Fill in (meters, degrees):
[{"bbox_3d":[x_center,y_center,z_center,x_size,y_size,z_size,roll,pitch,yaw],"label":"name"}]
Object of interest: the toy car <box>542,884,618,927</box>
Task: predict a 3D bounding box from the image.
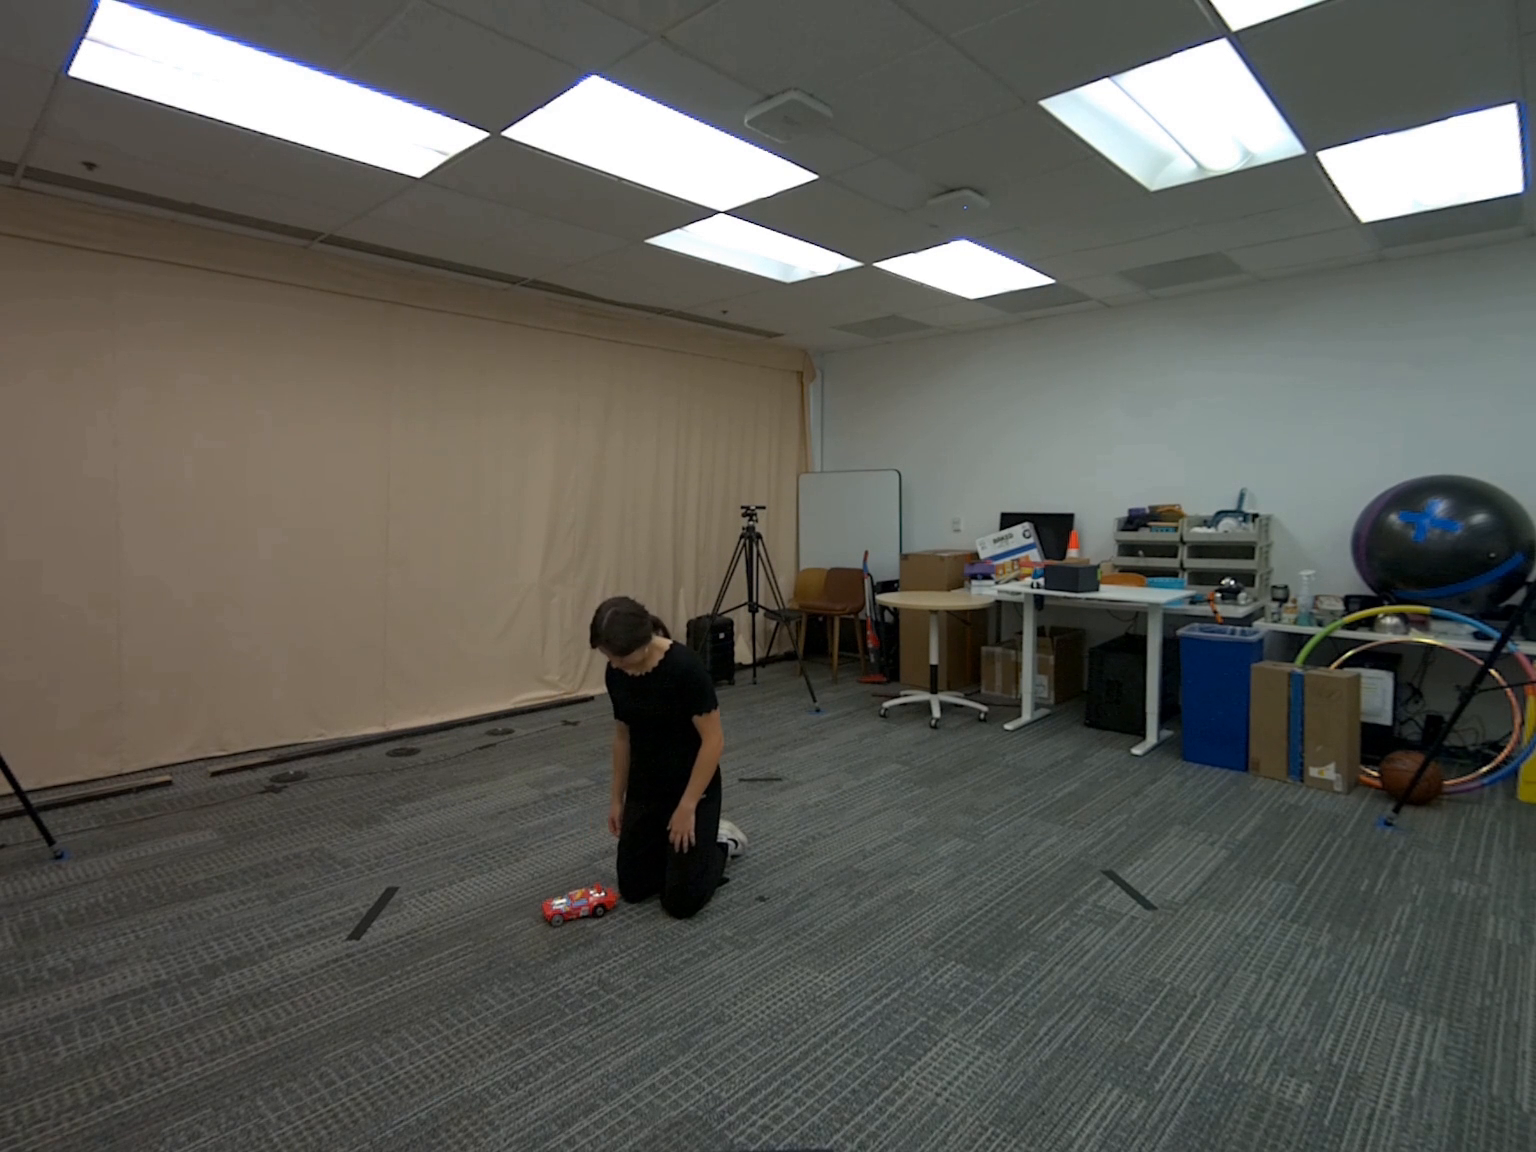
[{"bbox_3d":[-0.643,1.128,2.887,0.250,0.083,0.133,-14,8,-22],"label":"toy car"}]
